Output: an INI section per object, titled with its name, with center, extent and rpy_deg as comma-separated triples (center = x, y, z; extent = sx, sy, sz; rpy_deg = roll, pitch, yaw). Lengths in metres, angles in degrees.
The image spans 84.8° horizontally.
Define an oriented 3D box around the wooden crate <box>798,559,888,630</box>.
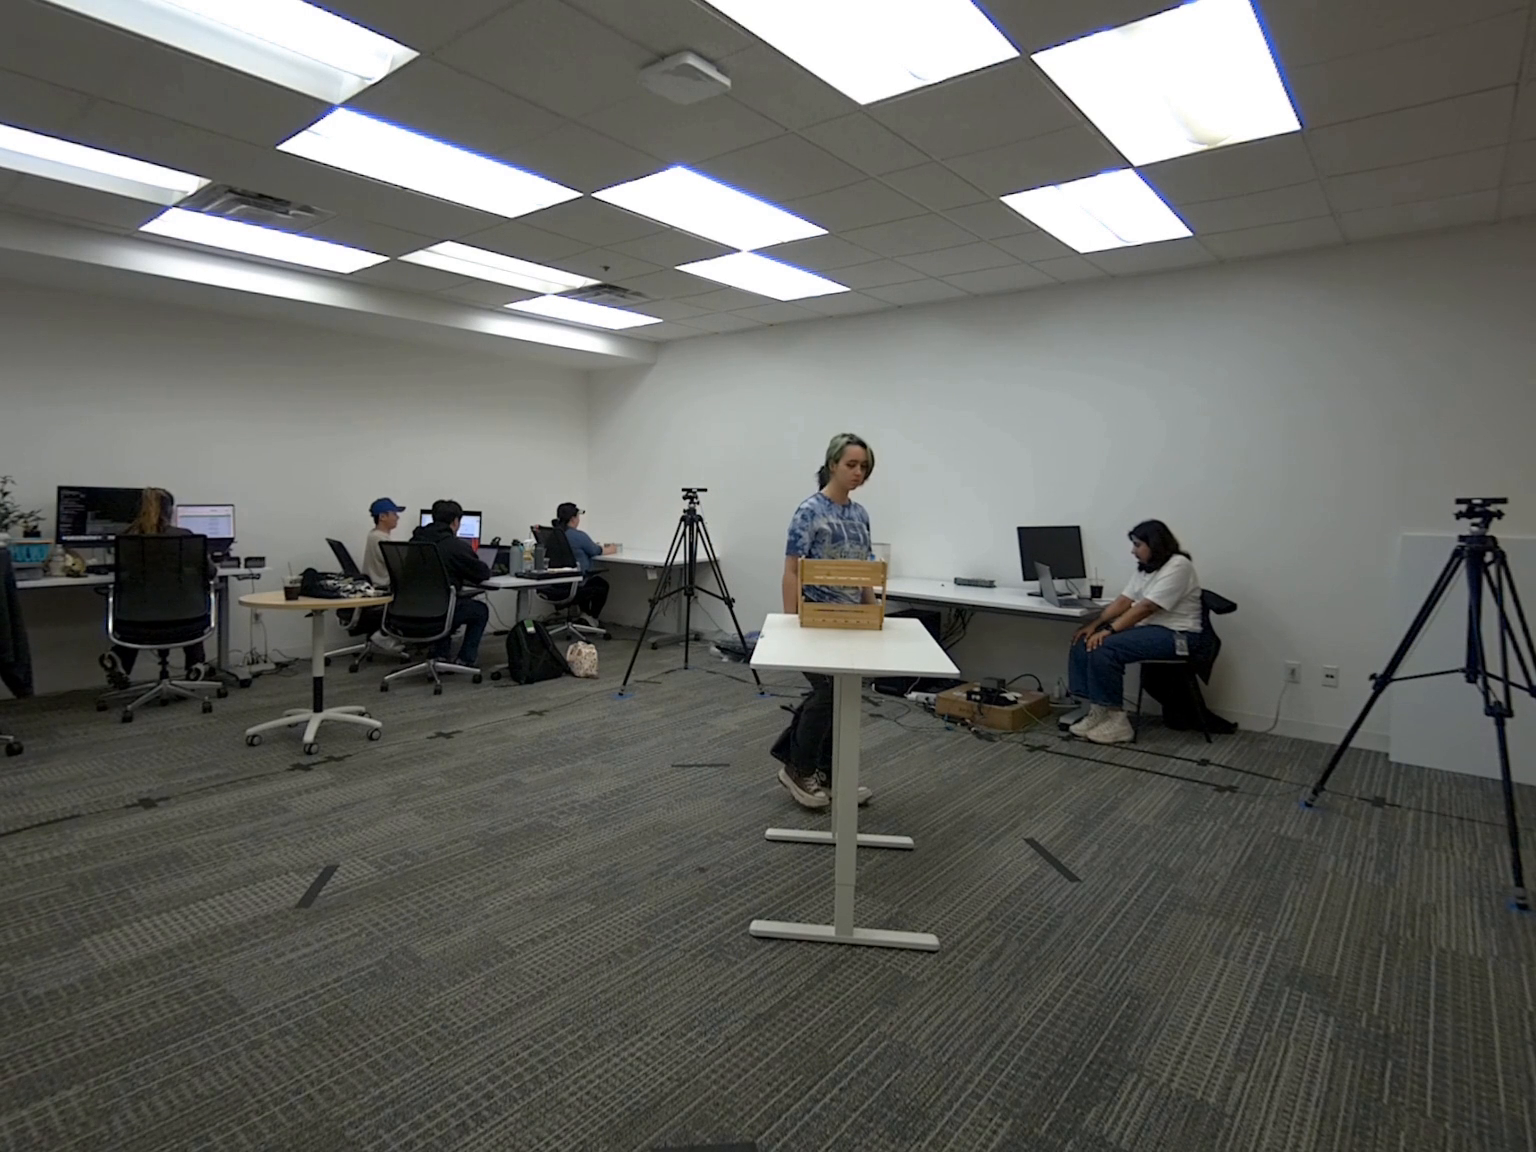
[wooden crate]
center = 0.274, 0.051, 3.237
extent = 0.327, 0.272, 0.301
rpy_deg = 1, 5, 5
